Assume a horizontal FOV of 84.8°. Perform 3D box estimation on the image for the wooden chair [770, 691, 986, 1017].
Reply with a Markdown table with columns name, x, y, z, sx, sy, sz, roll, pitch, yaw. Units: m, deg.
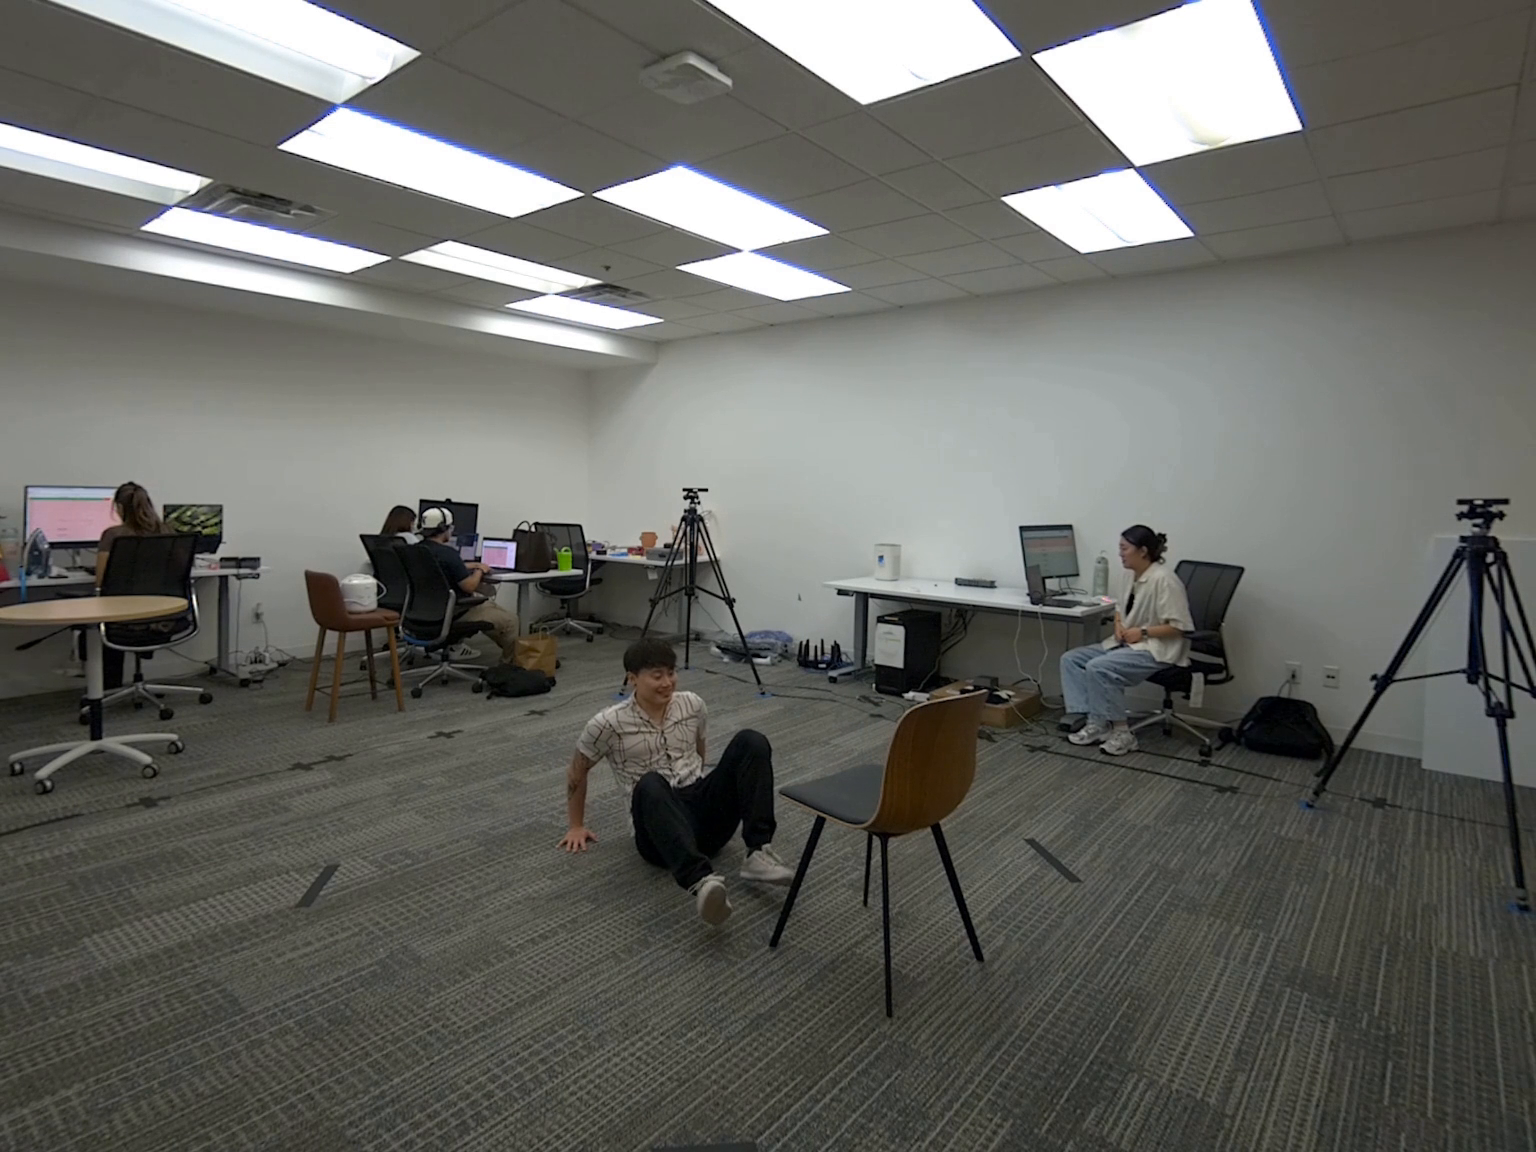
| name | x | y | z | sx | sy | sz | roll | pitch | yaw |
| --- | --- | --- | --- | --- | --- | --- | --- | --- | --- |
| wooden chair | 0.324 | 0.710 | 2.542 | 0.463 | 0.872 | 0.542 | -2 | 9 | -42 |
